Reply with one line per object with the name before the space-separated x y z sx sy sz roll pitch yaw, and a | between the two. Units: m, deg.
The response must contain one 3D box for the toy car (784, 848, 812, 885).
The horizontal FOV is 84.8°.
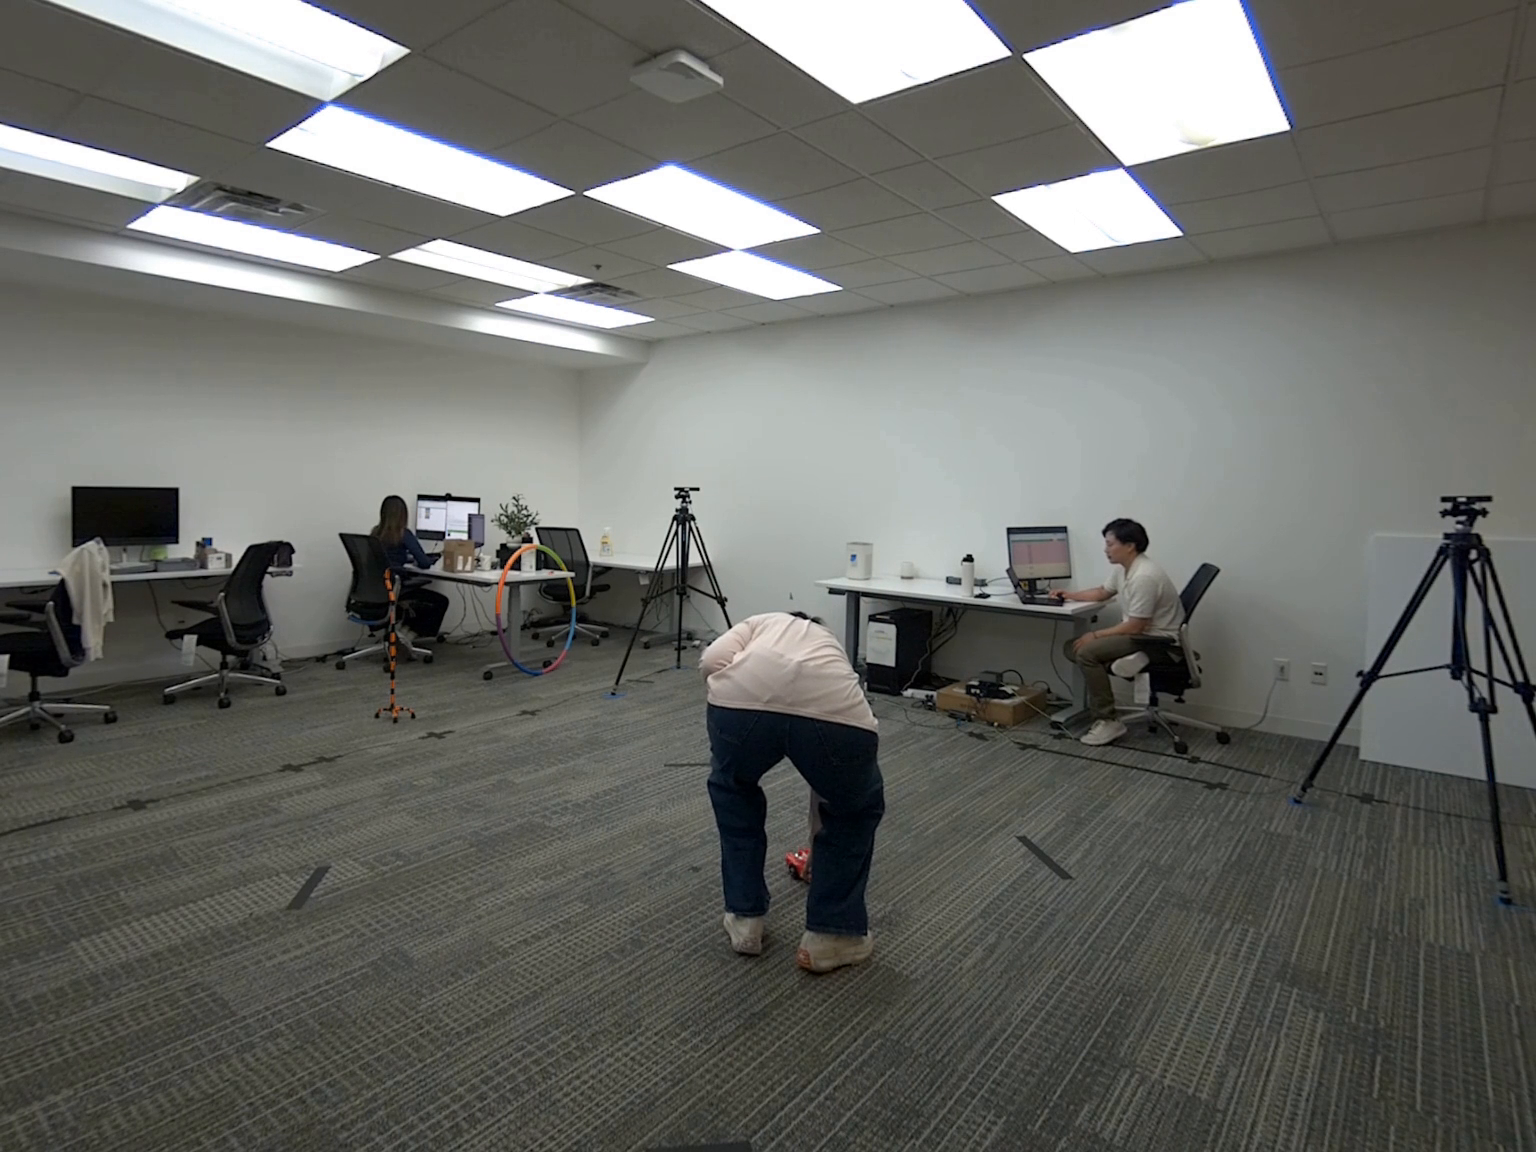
toy car | 0.159 1.047 3.035 0.126 0.082 0.265 -2 19 -35
